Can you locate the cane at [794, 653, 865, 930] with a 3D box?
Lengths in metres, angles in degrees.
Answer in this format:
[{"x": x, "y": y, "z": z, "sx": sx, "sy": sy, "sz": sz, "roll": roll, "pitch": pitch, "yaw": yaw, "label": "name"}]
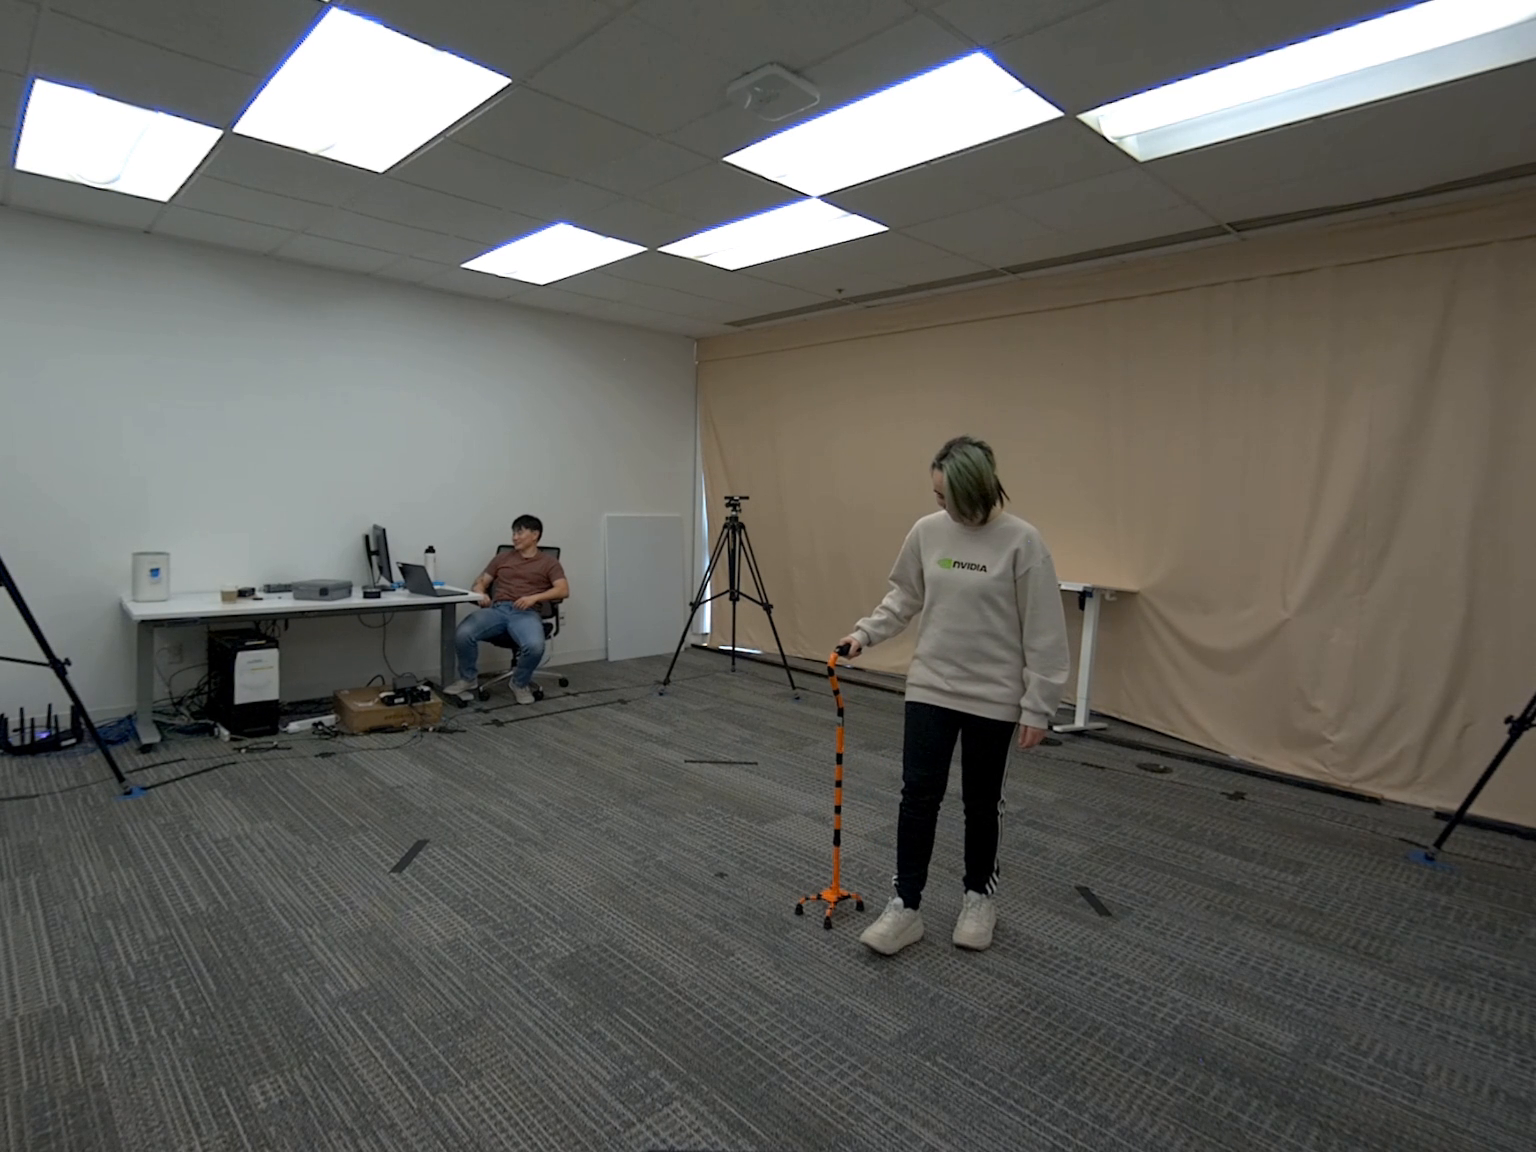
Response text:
[{"x": 0.210, "y": 0.686, "z": 2.813, "sx": 0.155, "sy": 0.905, "sz": 0.202, "roll": 3, "pitch": 6, "yaw": 44, "label": "cane"}]
